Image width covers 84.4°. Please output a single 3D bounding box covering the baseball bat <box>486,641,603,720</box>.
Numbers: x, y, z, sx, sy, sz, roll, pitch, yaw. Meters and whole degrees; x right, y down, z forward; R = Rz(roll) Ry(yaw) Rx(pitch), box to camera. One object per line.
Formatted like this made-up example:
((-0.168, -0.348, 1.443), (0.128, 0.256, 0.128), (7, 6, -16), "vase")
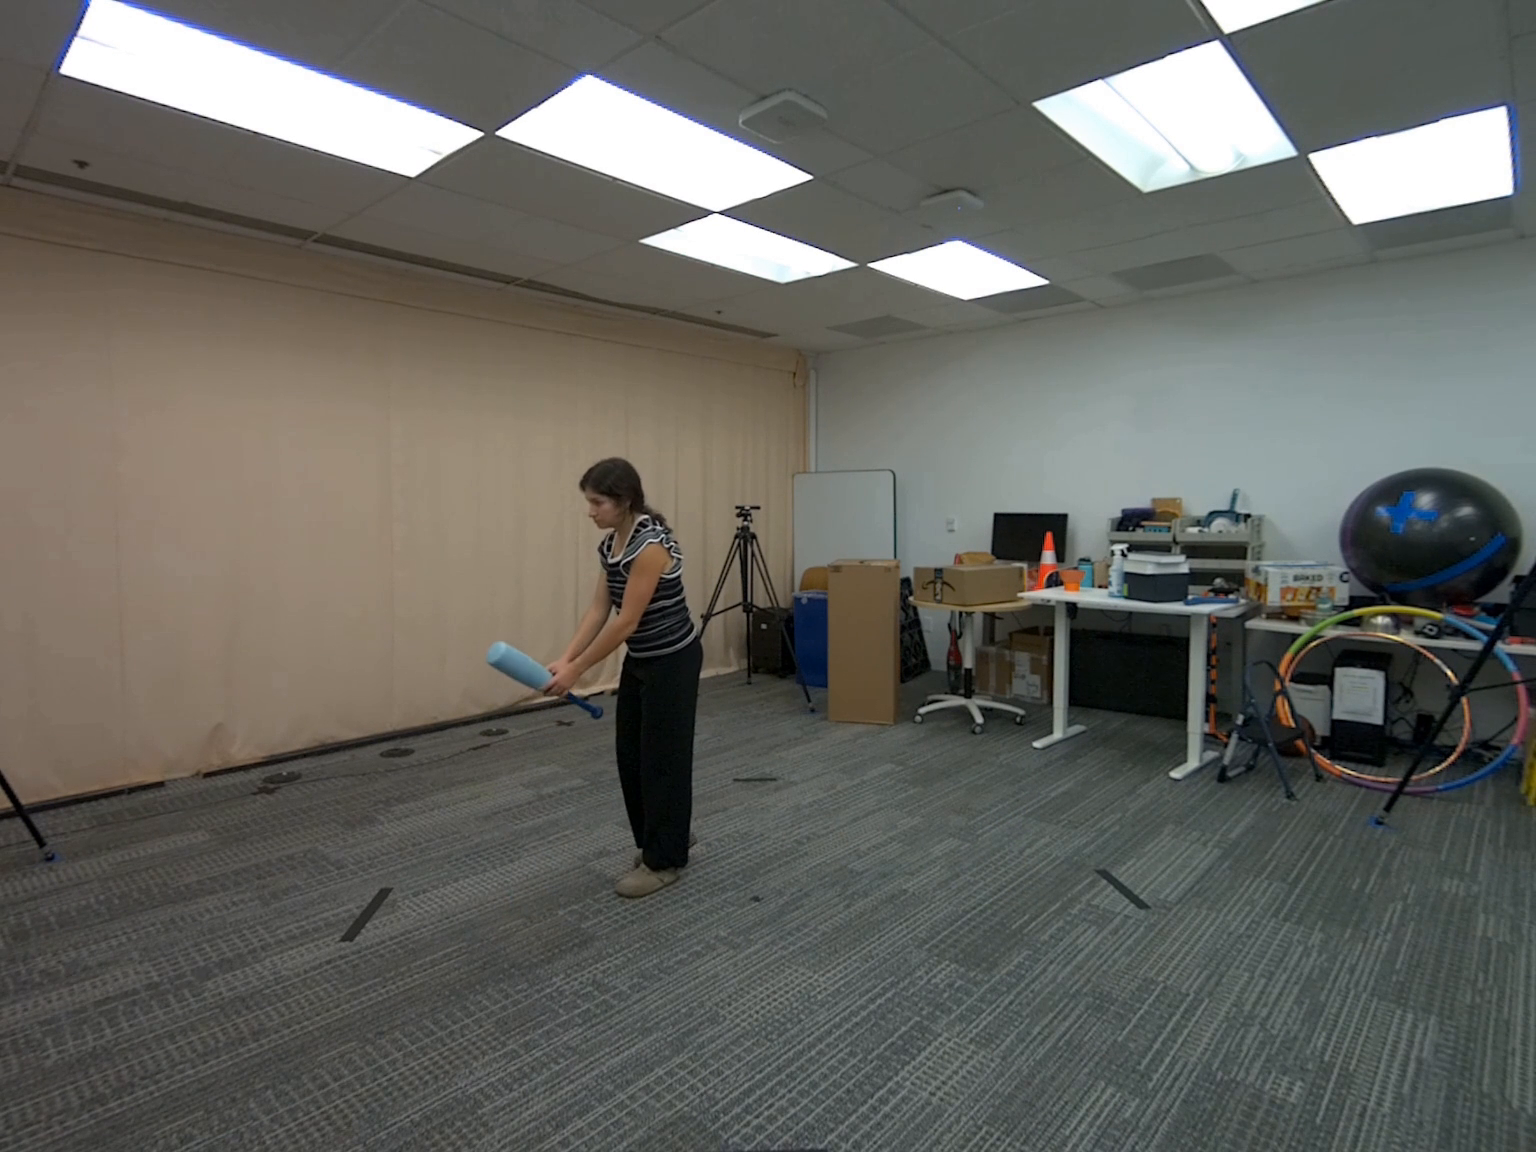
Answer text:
((-0.751, 0.379, 2.894), (0.092, 0.089, 0.524), (3, -29, 37), "baseball bat")
